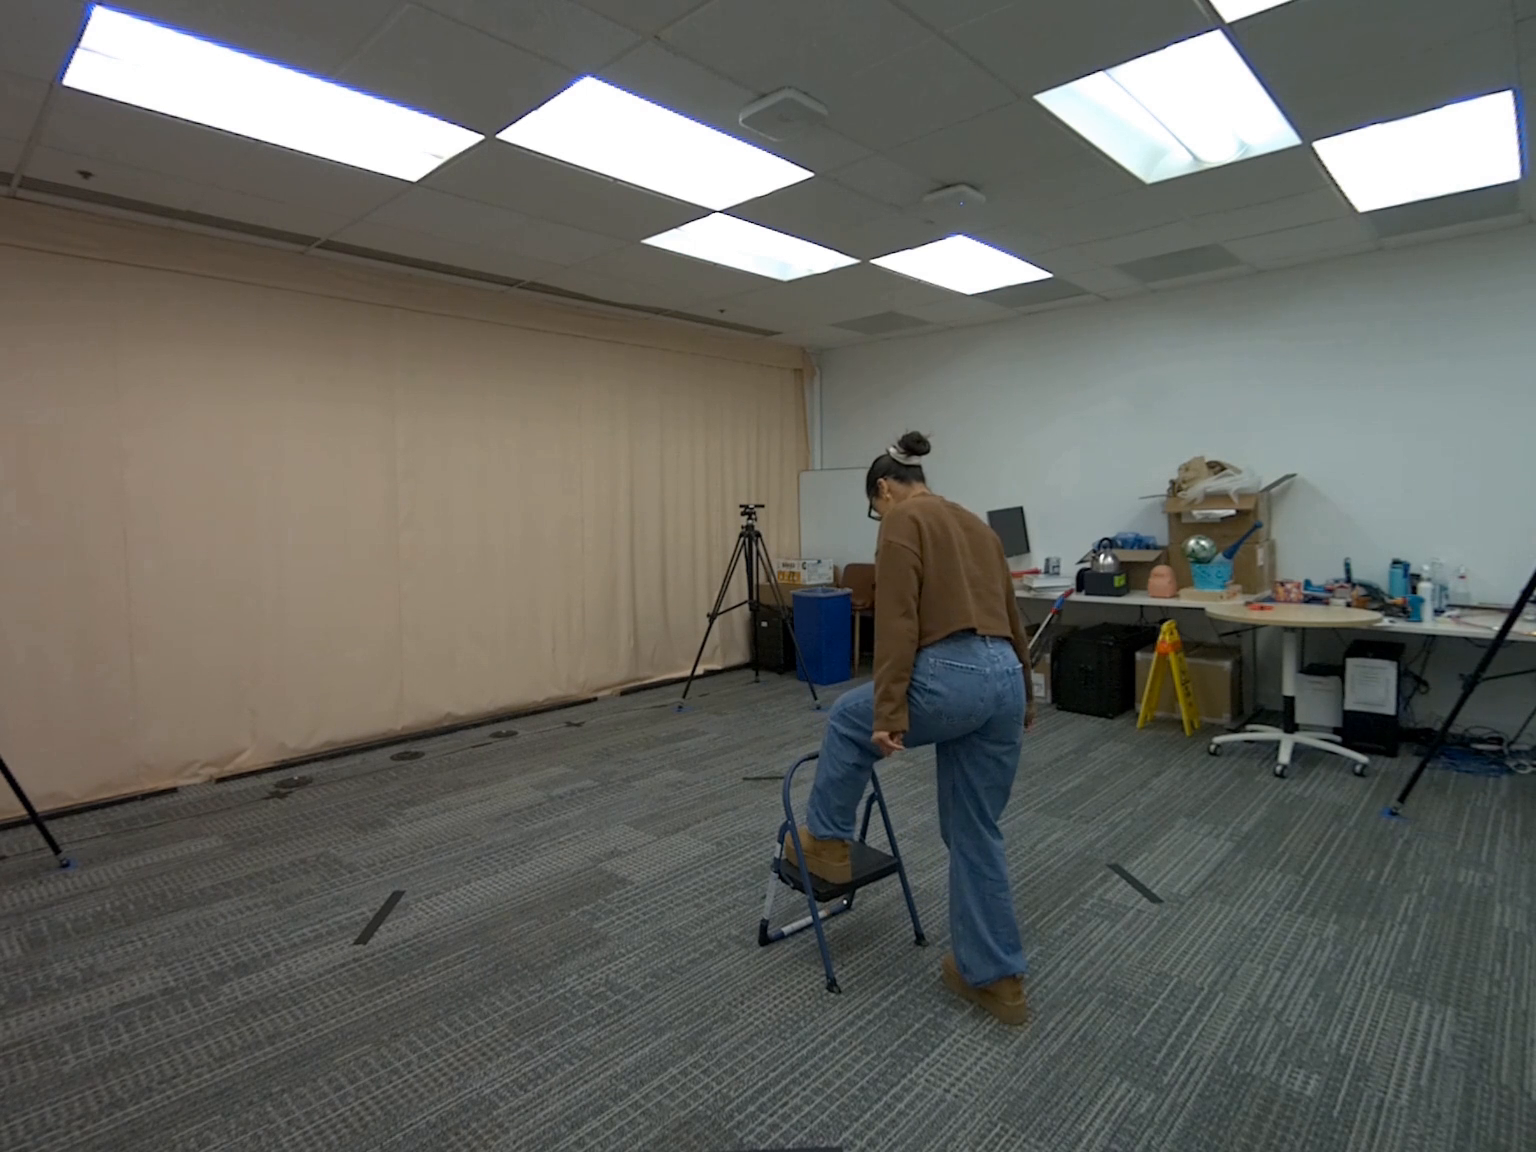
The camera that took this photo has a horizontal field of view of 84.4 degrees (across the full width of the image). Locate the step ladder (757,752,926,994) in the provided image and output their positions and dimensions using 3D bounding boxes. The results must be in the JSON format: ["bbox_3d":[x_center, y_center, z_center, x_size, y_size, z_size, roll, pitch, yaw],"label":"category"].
[{"bbox_3d":[0.232,0.862,2.642,0.418,0.605,0.361,-4,4,-40],"label":"step ladder"}]
